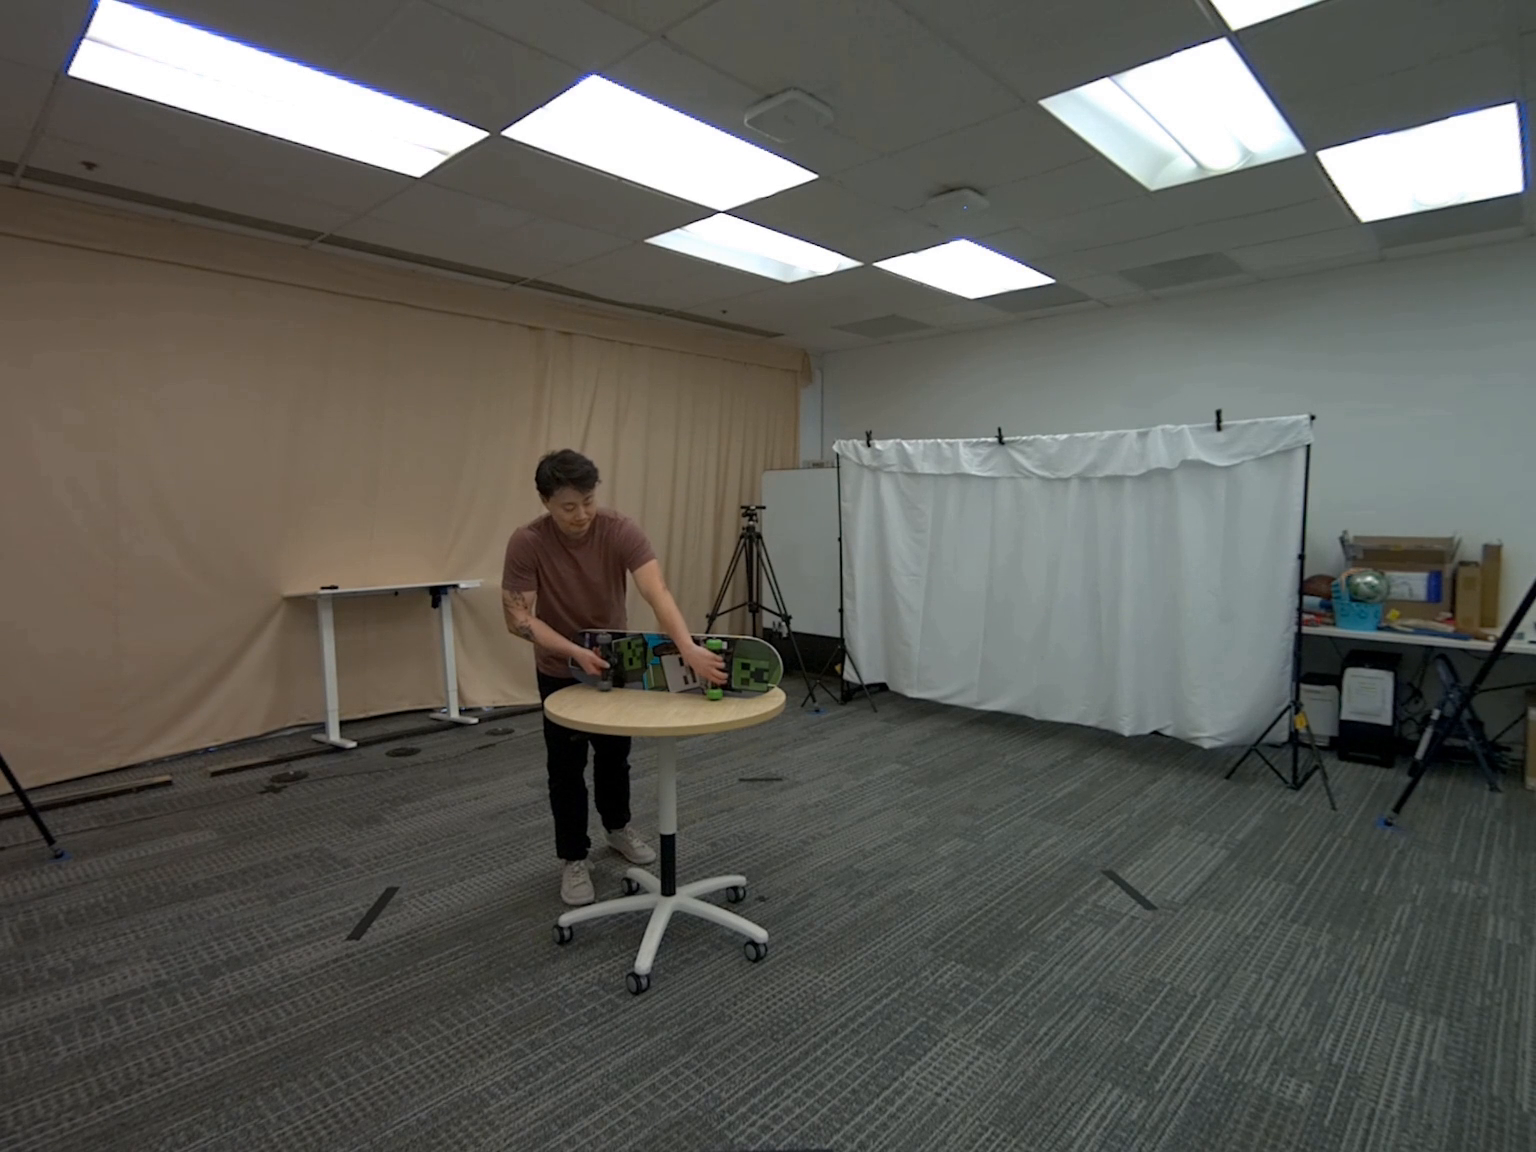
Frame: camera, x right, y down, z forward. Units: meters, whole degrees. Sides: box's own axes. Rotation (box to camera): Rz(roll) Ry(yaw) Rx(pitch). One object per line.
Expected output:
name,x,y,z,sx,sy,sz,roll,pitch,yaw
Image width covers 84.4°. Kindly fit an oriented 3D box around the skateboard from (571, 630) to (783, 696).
skateboard,-0.331,0.286,2.740,0.804,0.193,0.108,1,3,24
